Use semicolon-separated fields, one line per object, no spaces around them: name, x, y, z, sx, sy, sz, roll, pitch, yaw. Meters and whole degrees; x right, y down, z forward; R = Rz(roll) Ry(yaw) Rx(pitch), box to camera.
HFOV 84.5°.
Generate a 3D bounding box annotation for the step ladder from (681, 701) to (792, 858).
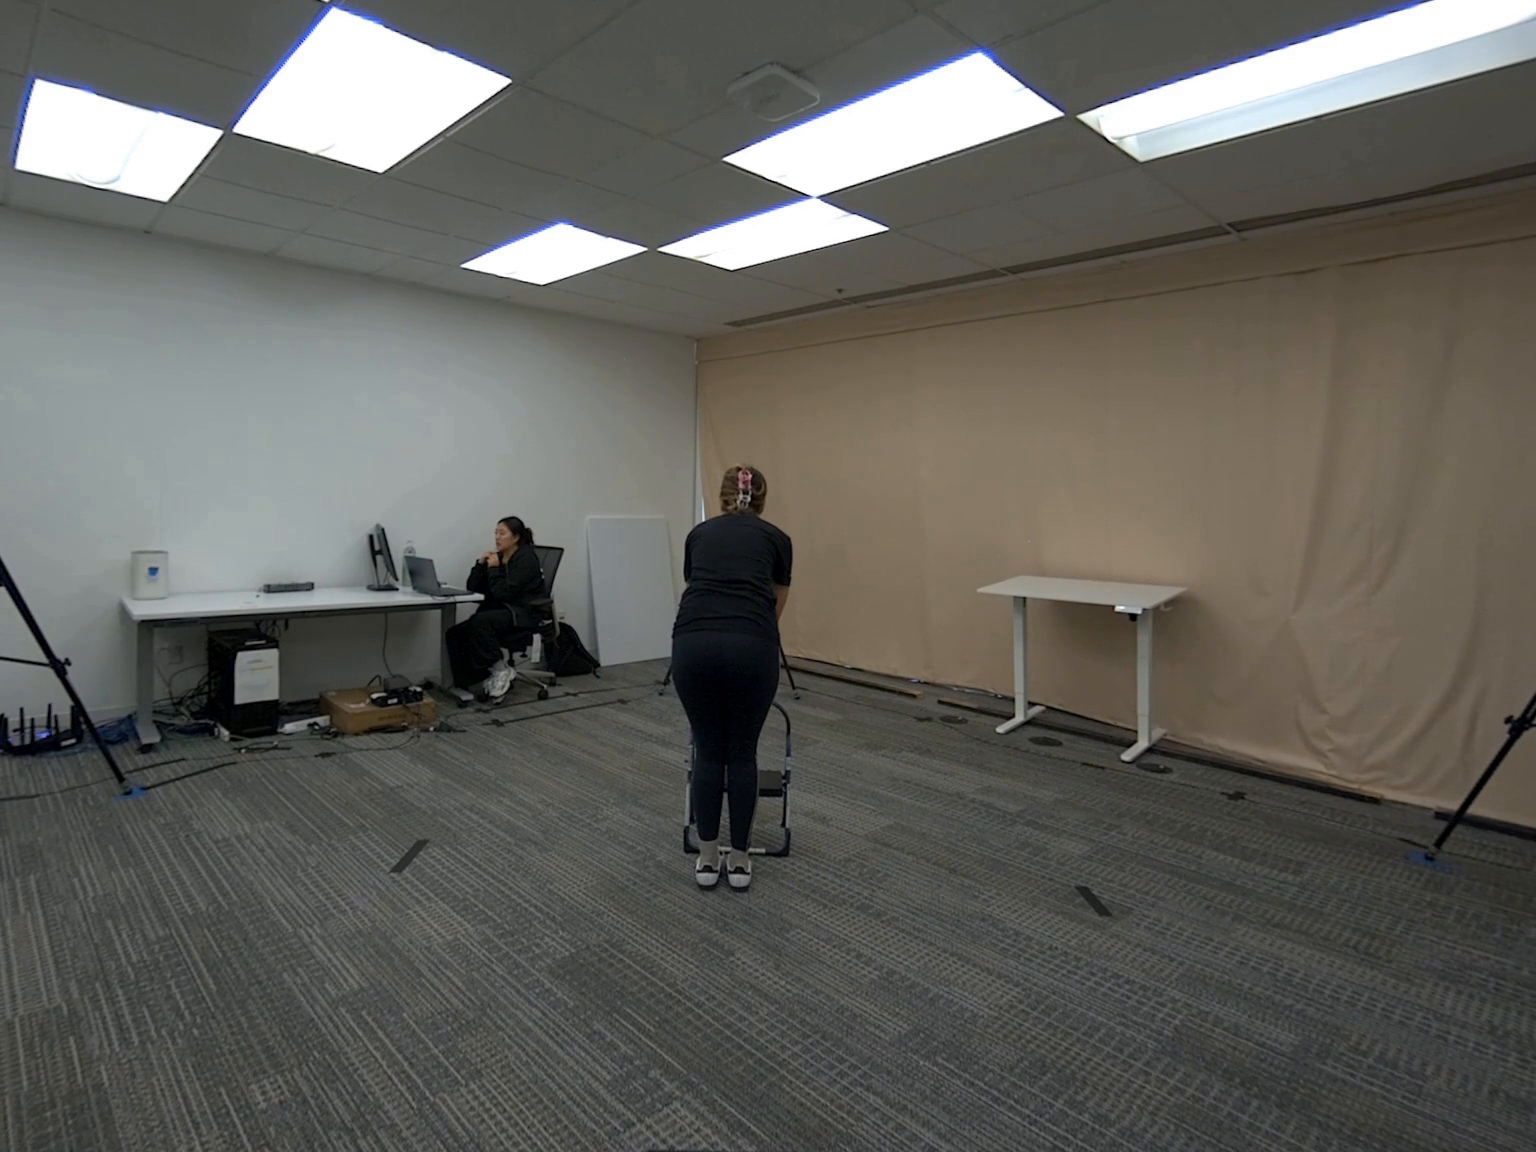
step ladder;-0.122;0.780;3.432;0.431;0.605;0.350;1;3;0
